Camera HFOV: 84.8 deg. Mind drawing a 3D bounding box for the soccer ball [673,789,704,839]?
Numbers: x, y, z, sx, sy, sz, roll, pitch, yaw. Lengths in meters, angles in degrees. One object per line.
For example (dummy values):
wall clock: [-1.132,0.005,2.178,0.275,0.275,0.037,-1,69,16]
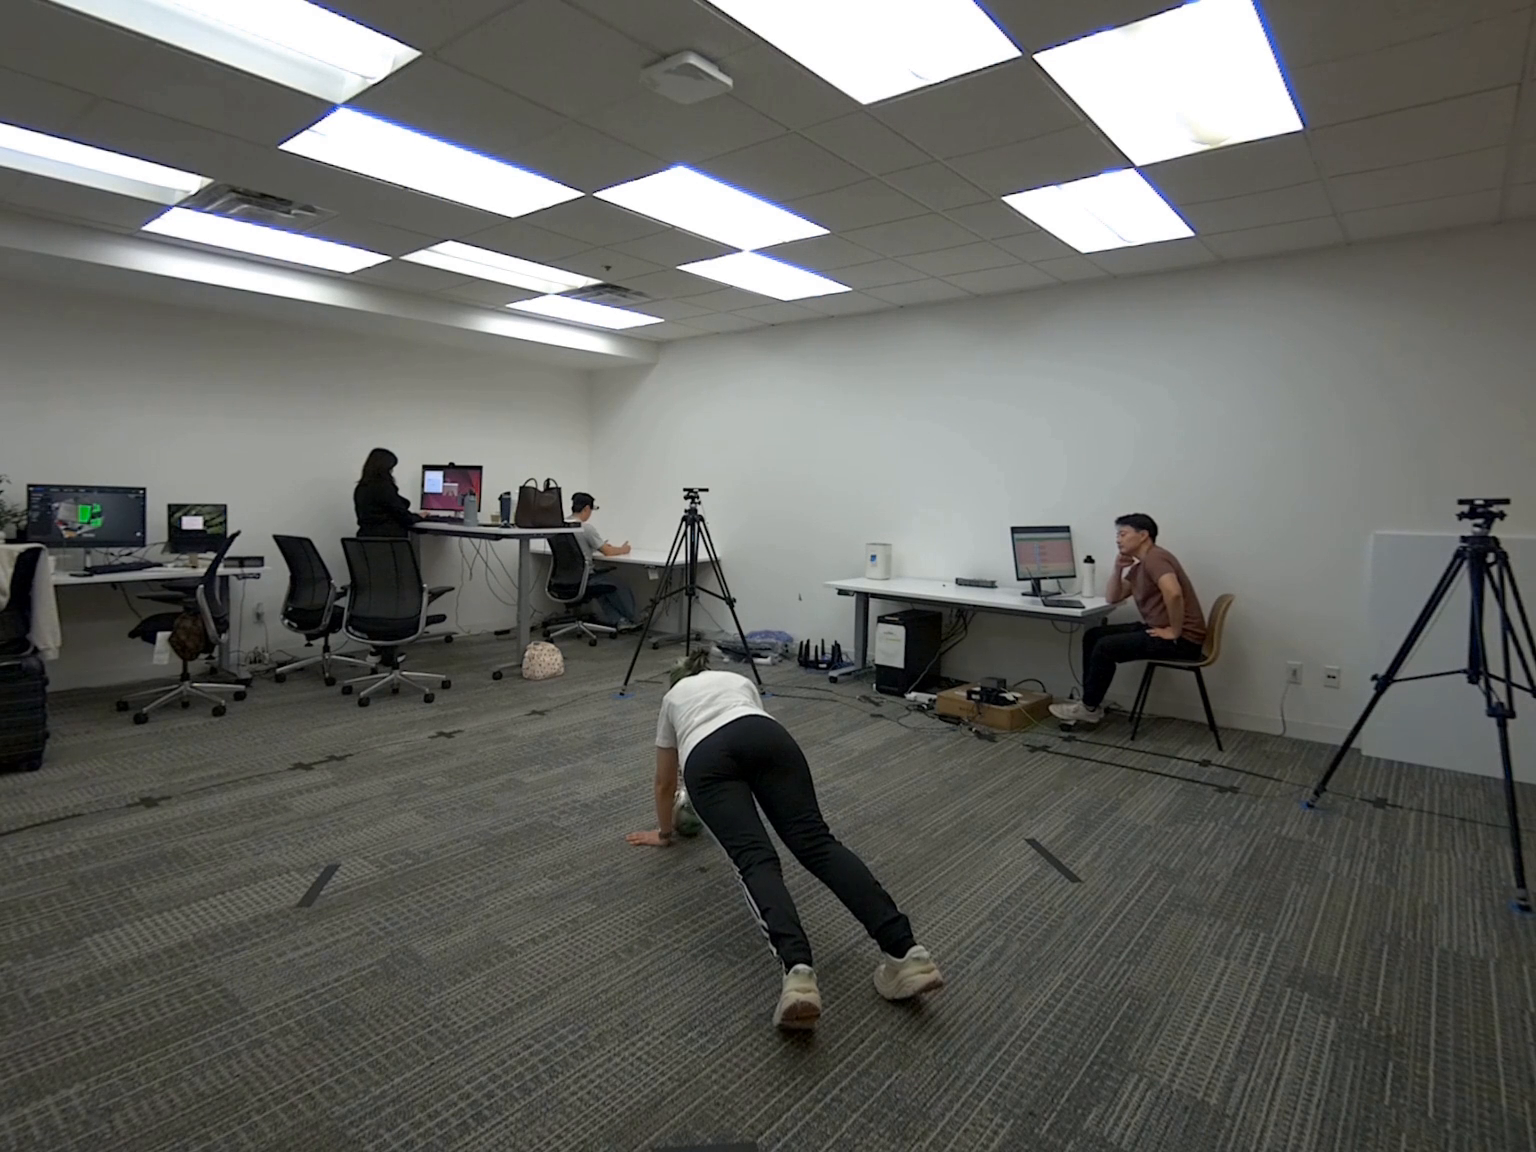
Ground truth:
soccer ball: [-0.328,0.944,3.434,0.187,0.187,0.188,1,4,-2]
